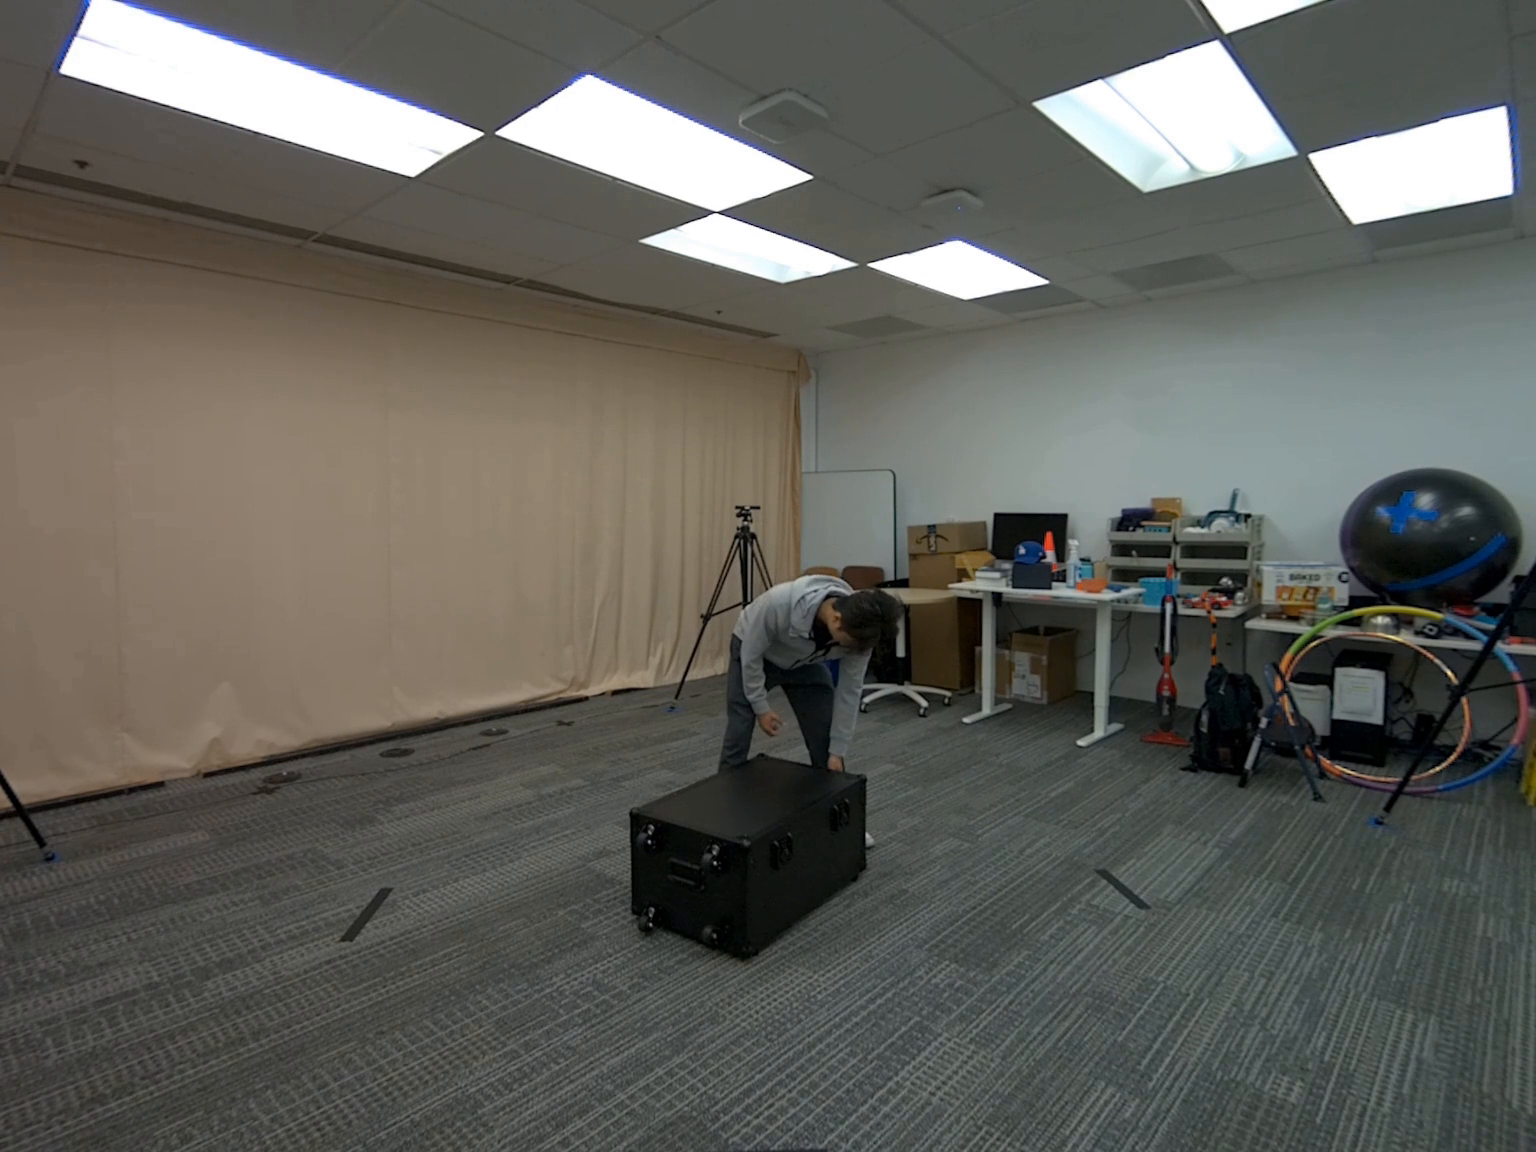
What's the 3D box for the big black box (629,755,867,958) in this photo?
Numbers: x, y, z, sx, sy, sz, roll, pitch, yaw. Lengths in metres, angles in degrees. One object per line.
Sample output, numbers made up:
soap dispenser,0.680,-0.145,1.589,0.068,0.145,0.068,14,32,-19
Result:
big black box,-0.070,0.959,2.965,0.538,0.395,0.837,3,5,35
